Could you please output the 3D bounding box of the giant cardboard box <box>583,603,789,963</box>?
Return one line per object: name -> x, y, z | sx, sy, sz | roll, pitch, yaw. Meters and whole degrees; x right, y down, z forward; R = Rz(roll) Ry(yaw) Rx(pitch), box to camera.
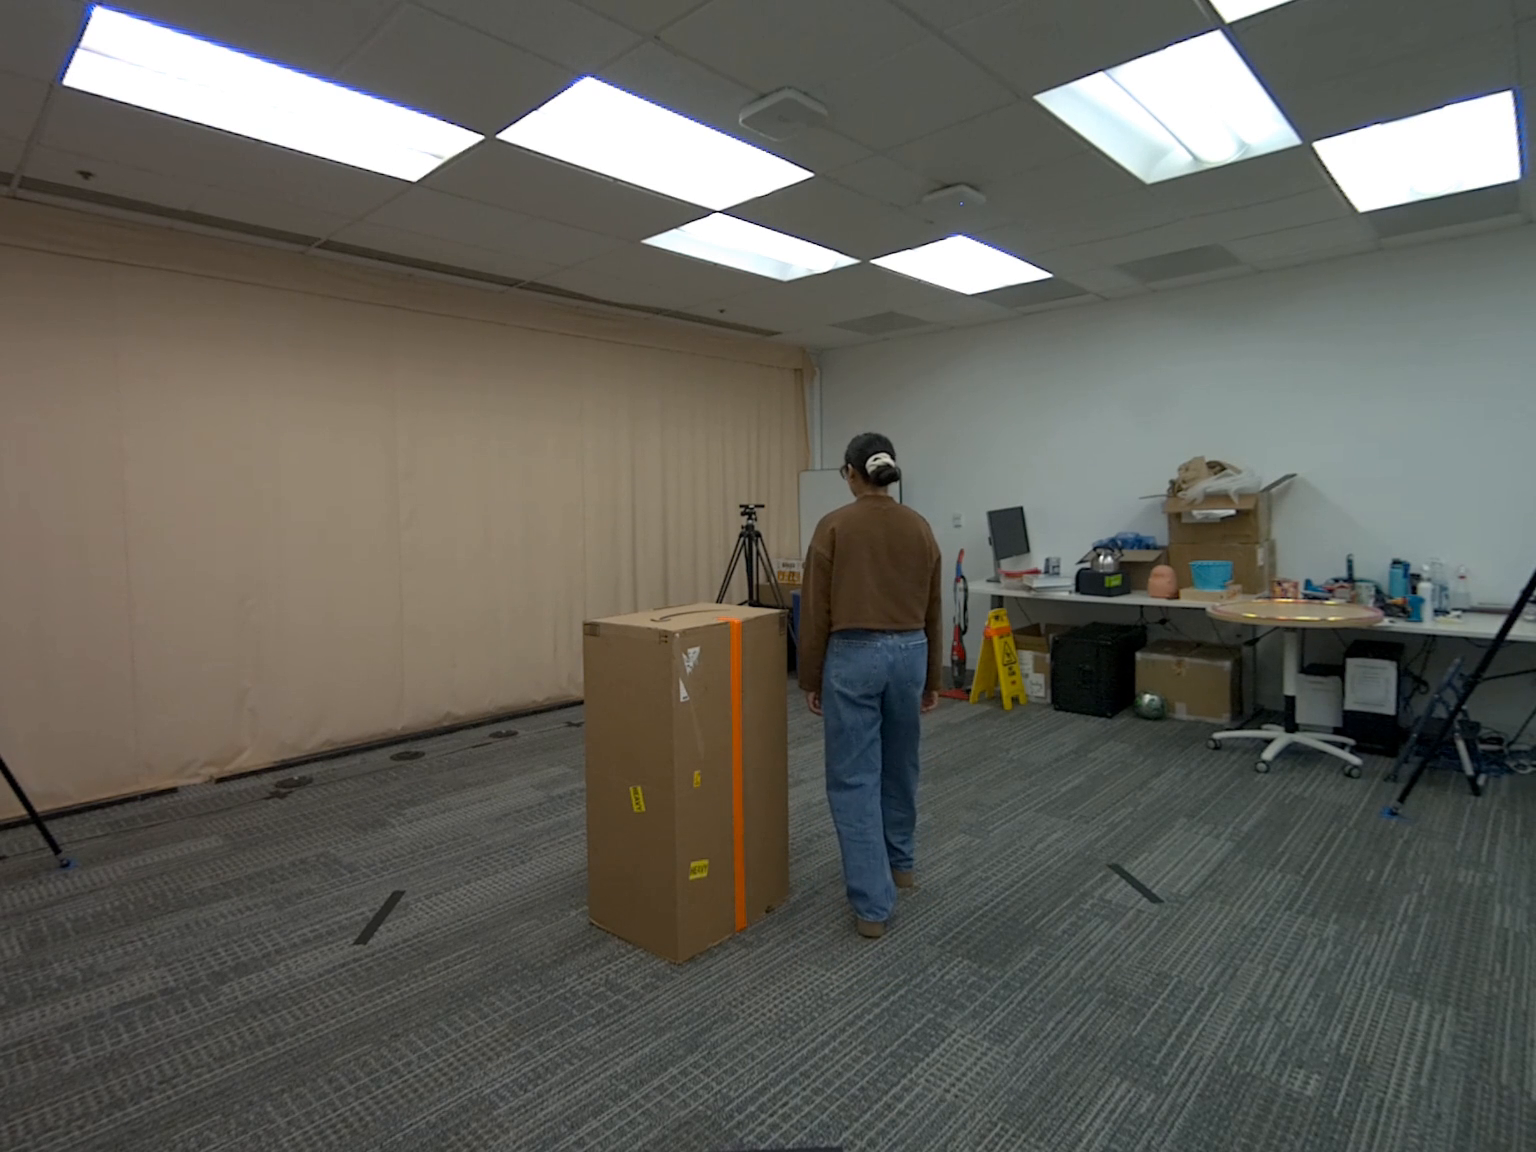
giant cardboard box -> -0.267, 0.646, 2.874 | 0.440, 1.023, 0.560 | 2, 4, 39
